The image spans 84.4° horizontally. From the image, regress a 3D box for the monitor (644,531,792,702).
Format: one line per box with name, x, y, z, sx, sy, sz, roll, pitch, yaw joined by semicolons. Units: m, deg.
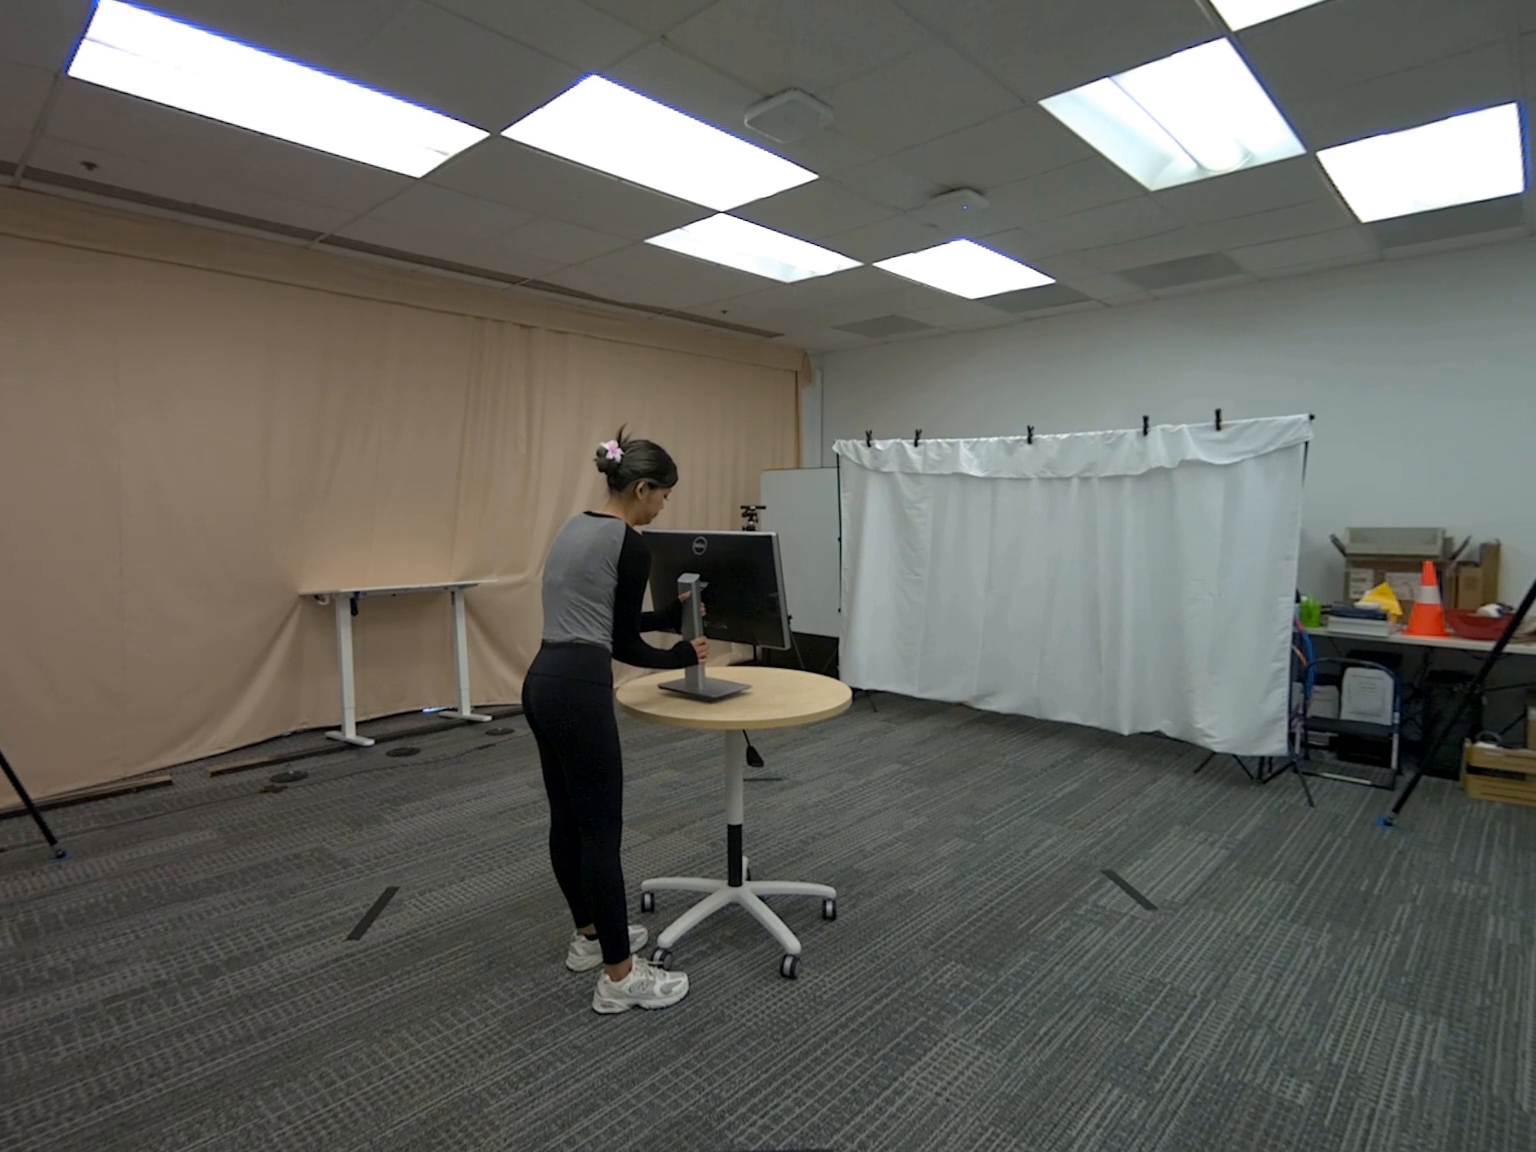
monitor;-0.192;0.117;2.688;0.547;0.517;0.169;2;-3;39
